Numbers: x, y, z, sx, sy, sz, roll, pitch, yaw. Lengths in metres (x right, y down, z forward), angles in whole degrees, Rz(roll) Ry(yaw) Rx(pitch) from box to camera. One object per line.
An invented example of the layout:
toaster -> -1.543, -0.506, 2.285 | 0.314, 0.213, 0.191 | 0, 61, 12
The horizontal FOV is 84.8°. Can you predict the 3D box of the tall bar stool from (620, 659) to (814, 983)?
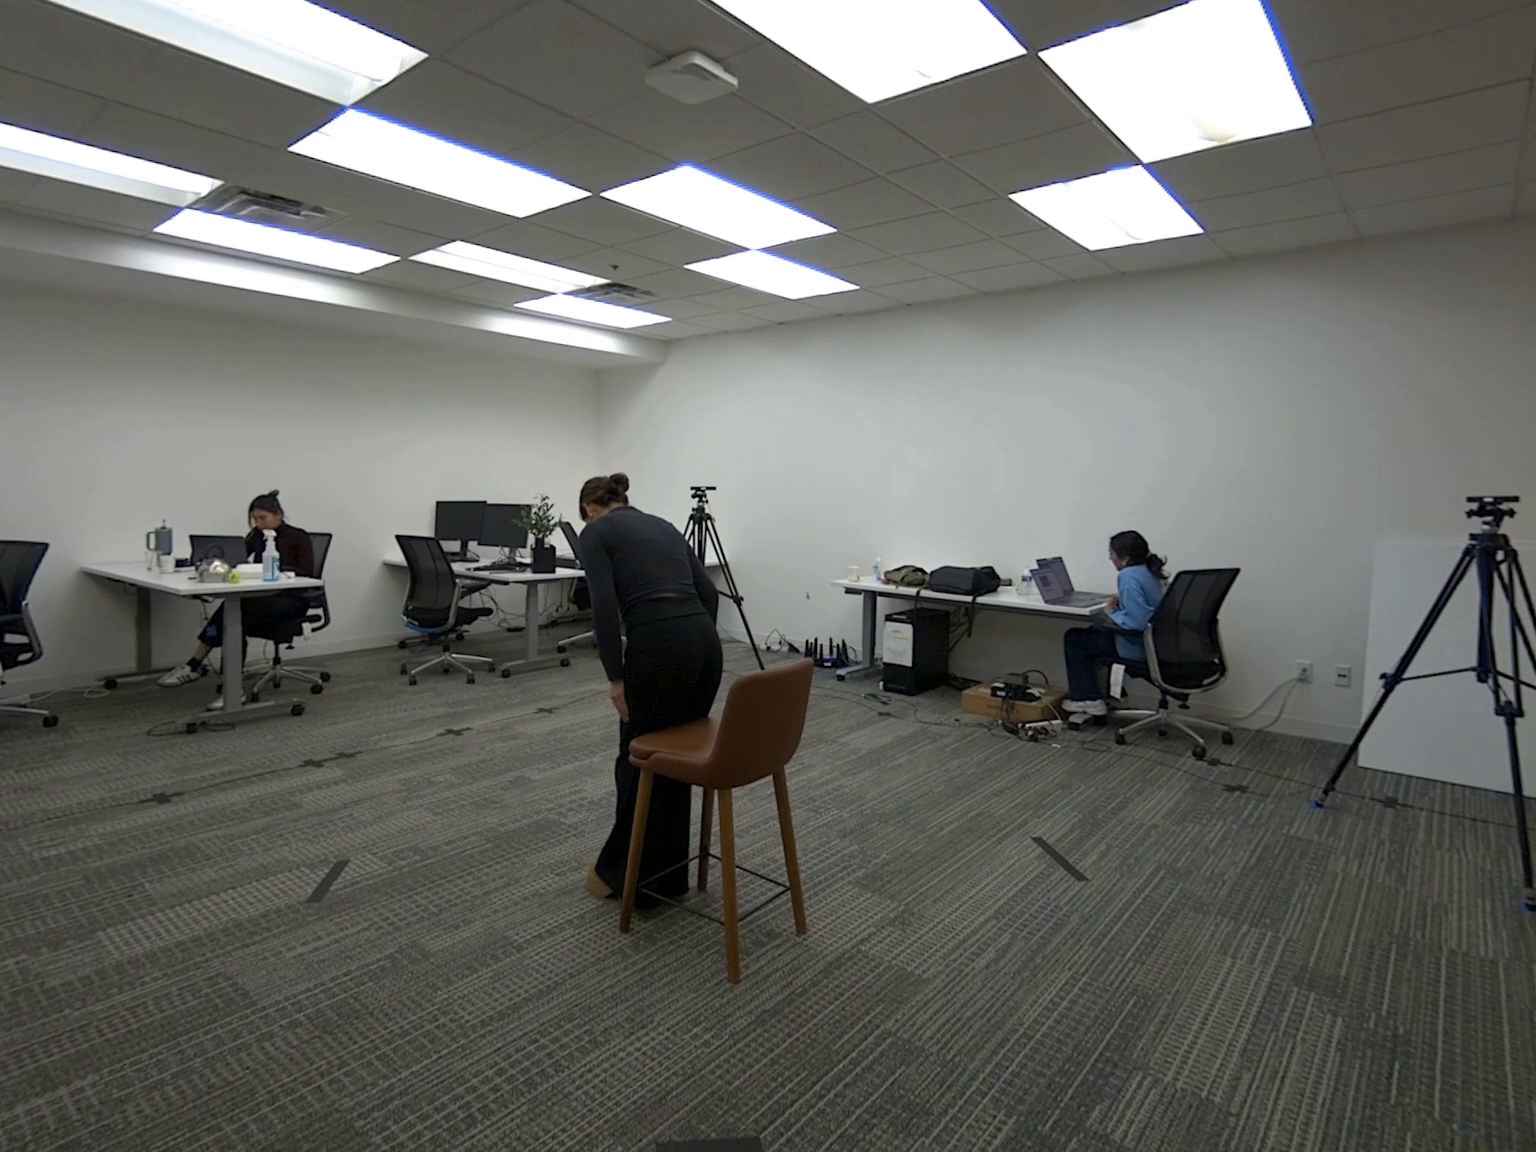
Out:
tall bar stool -> -0.157, 0.676, 2.639 | 0.483, 0.887, 0.443 | 5, 5, 37
